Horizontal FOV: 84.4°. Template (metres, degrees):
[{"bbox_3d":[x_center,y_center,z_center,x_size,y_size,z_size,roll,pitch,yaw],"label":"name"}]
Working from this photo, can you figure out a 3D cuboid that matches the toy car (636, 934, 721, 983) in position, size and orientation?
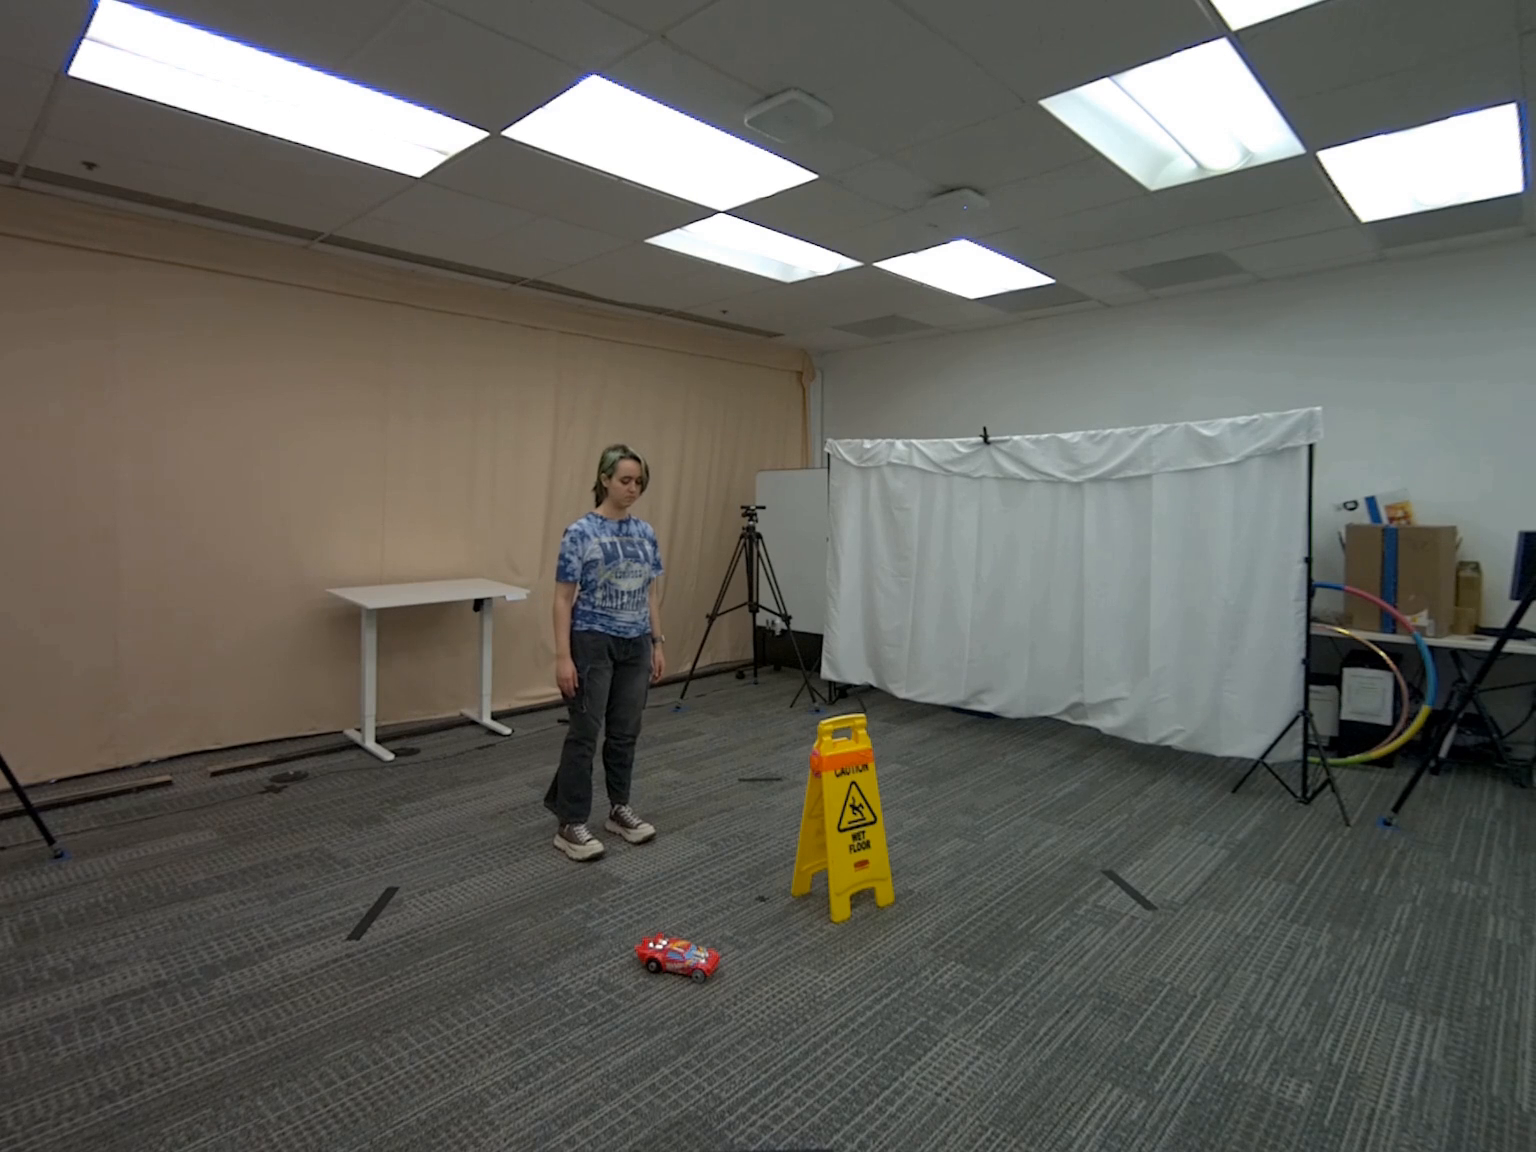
[{"bbox_3d":[-0.277,1.153,2.532,0.260,0.083,0.128,12,8,19],"label":"toy car"}]
